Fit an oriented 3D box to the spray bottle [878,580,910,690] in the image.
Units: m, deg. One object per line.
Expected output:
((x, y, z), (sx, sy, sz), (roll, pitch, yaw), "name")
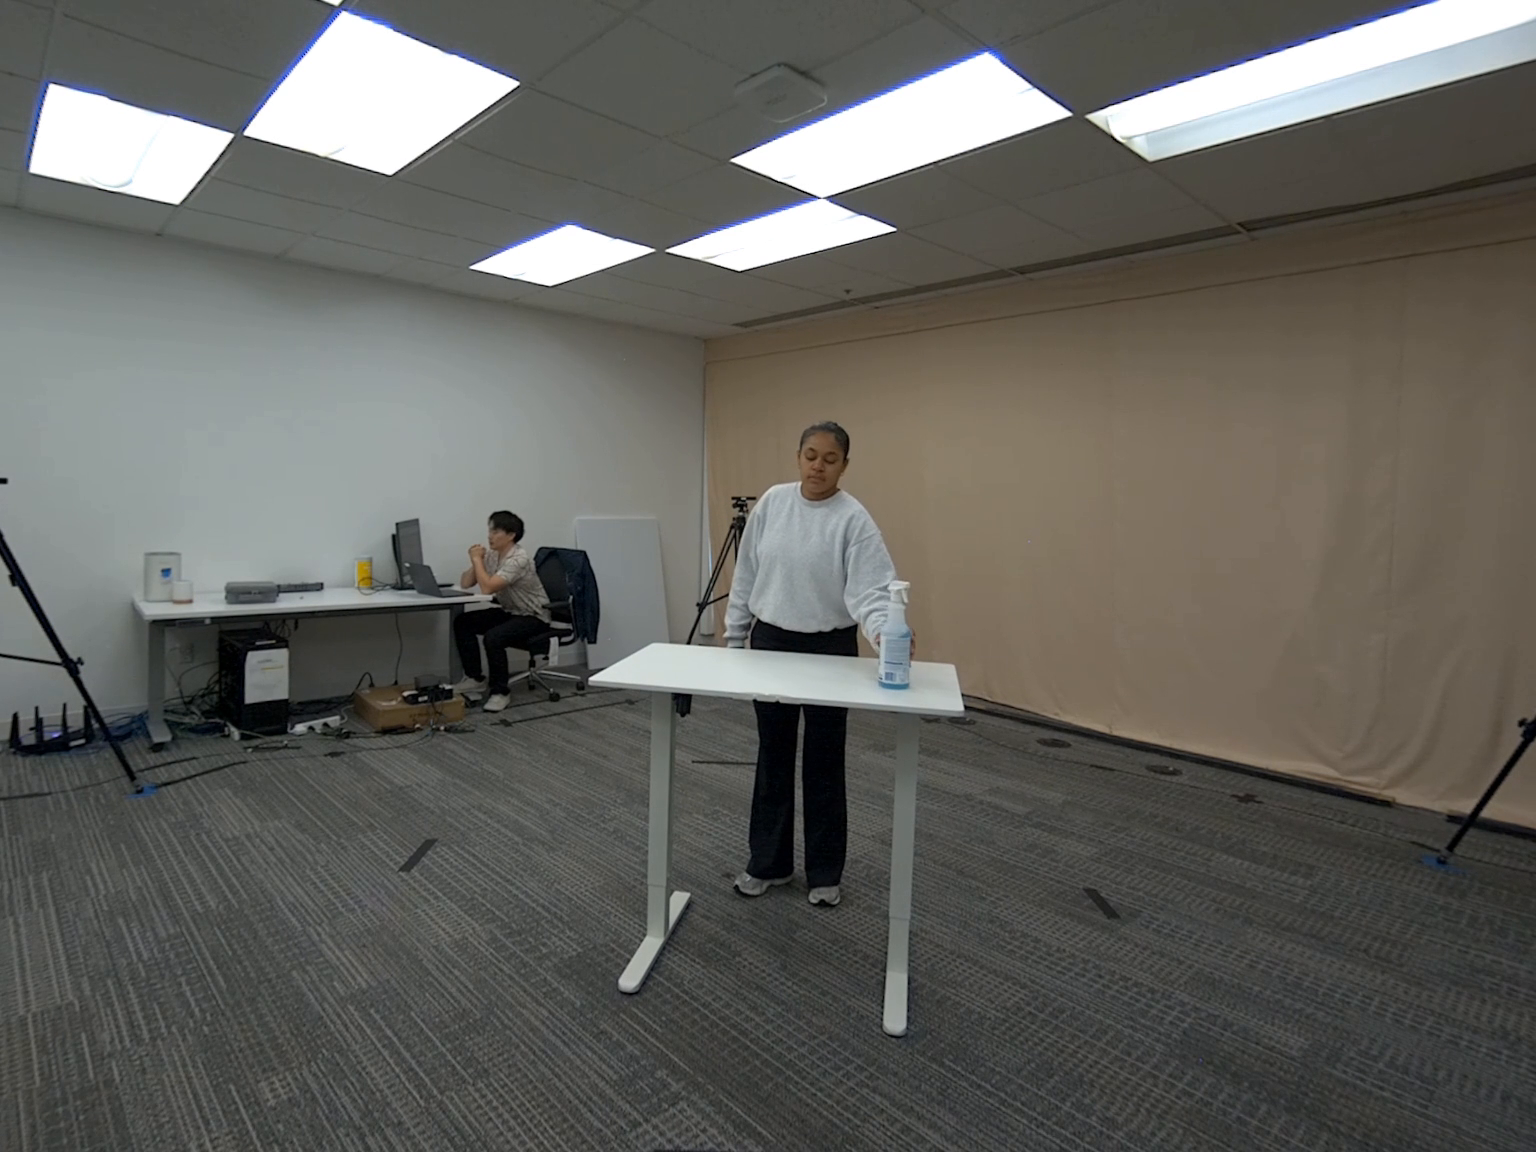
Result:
((0.322, 0.158, 2.345), (0.087, 0.296, 0.090), (-1, 5, 8), "spray bottle")
